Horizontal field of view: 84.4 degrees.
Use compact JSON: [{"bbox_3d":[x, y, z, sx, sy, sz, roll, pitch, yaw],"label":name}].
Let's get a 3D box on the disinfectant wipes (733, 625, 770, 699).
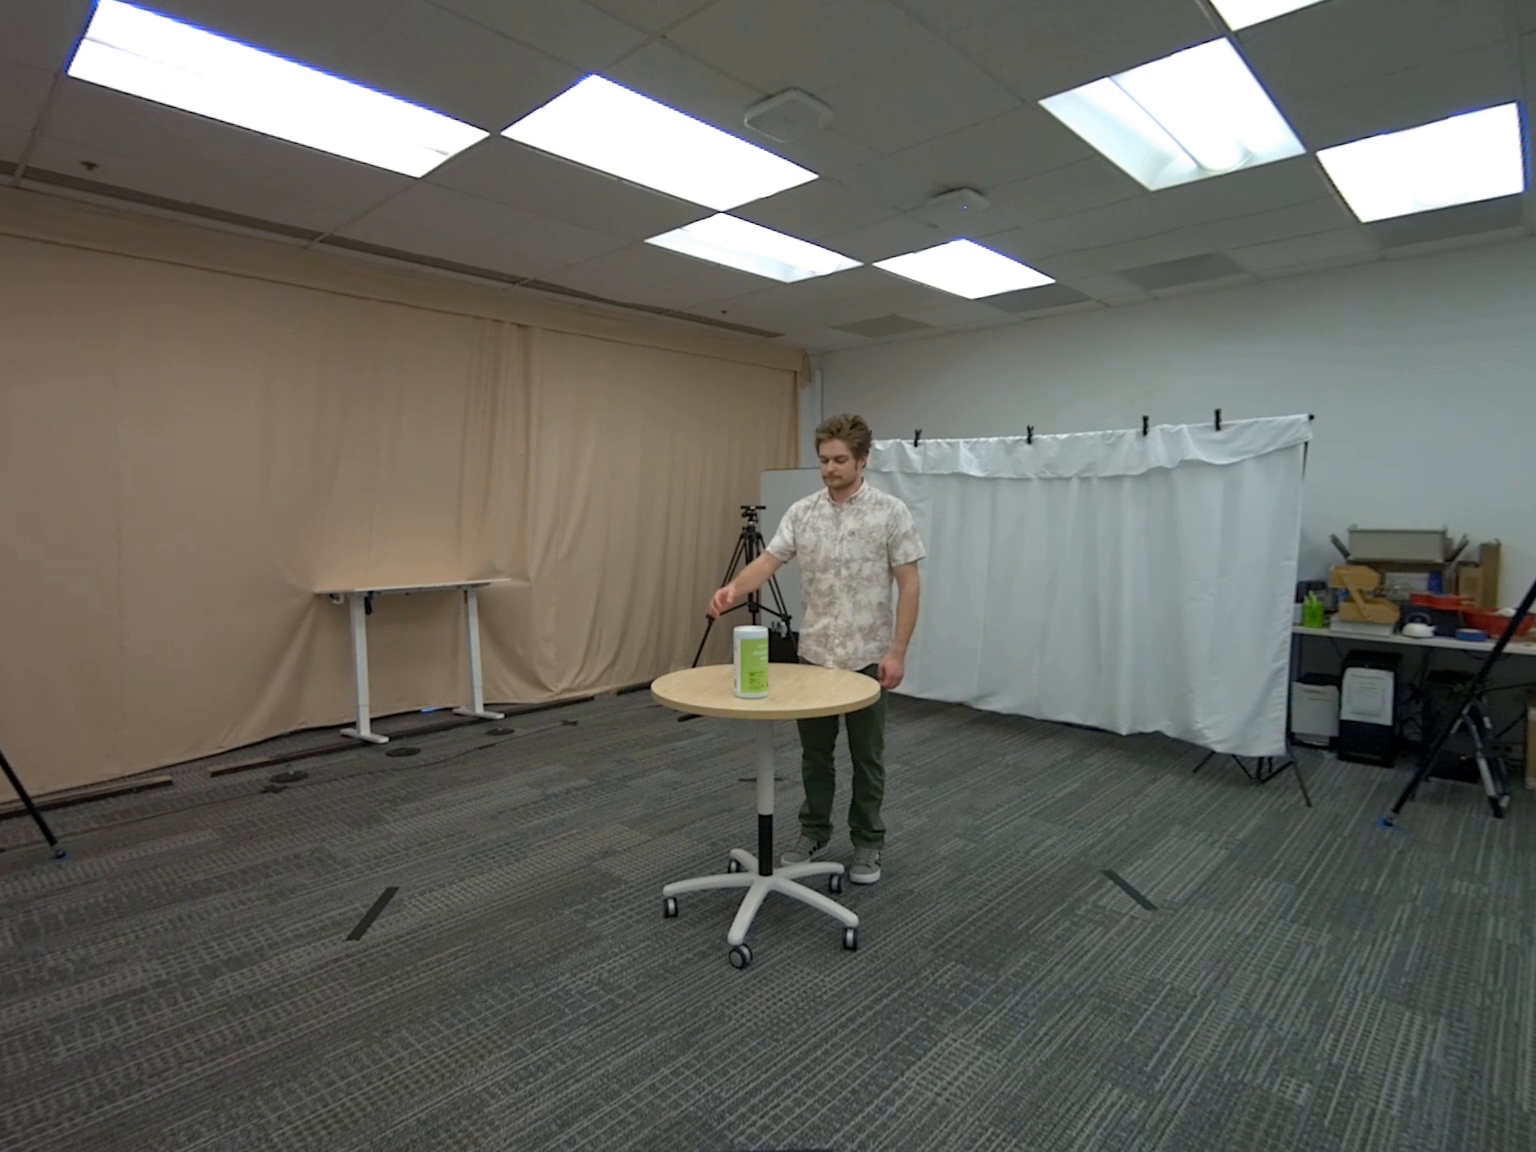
[{"bbox_3d":[-0.052,0.272,2.653,0.118,0.217,0.118,-1,2,-2],"label":"disinfectant wipes"}]
